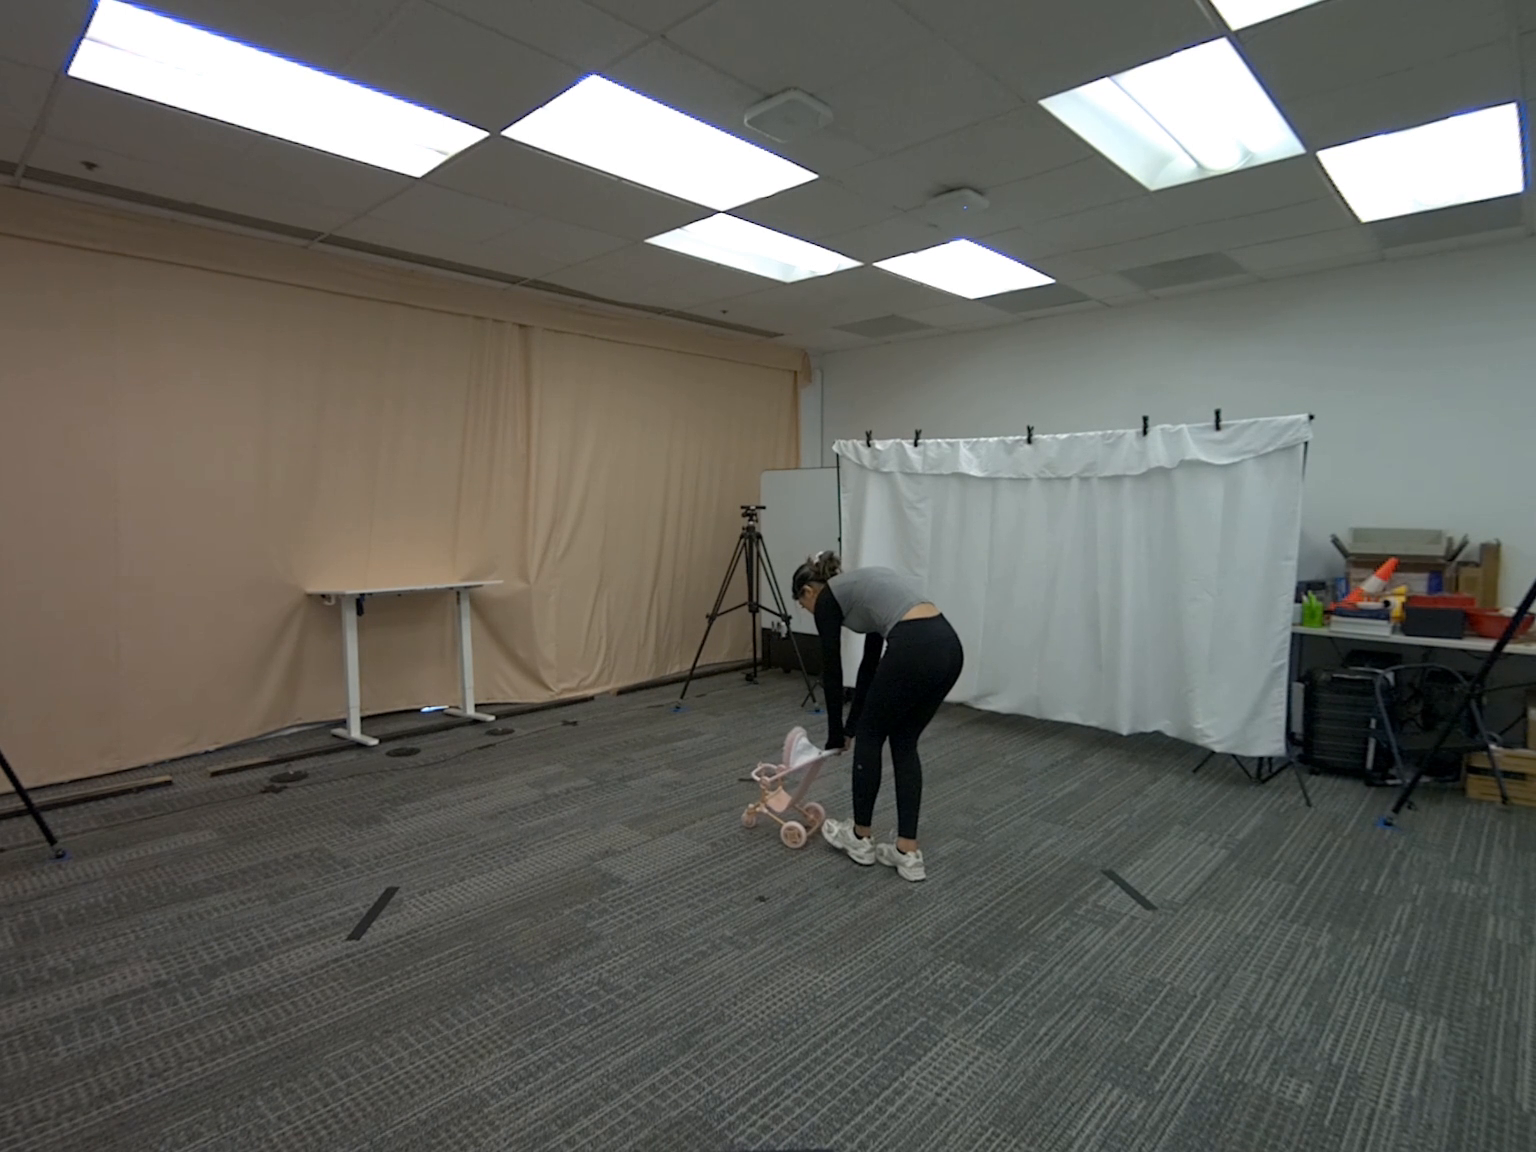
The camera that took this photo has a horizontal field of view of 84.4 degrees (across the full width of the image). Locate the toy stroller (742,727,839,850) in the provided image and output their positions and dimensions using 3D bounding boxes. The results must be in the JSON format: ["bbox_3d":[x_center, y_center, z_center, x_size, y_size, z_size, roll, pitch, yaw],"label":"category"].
[{"bbox_3d":[0.101,0.871,3.555,0.352,0.533,0.274,21,11,27],"label":"toy stroller"}]
